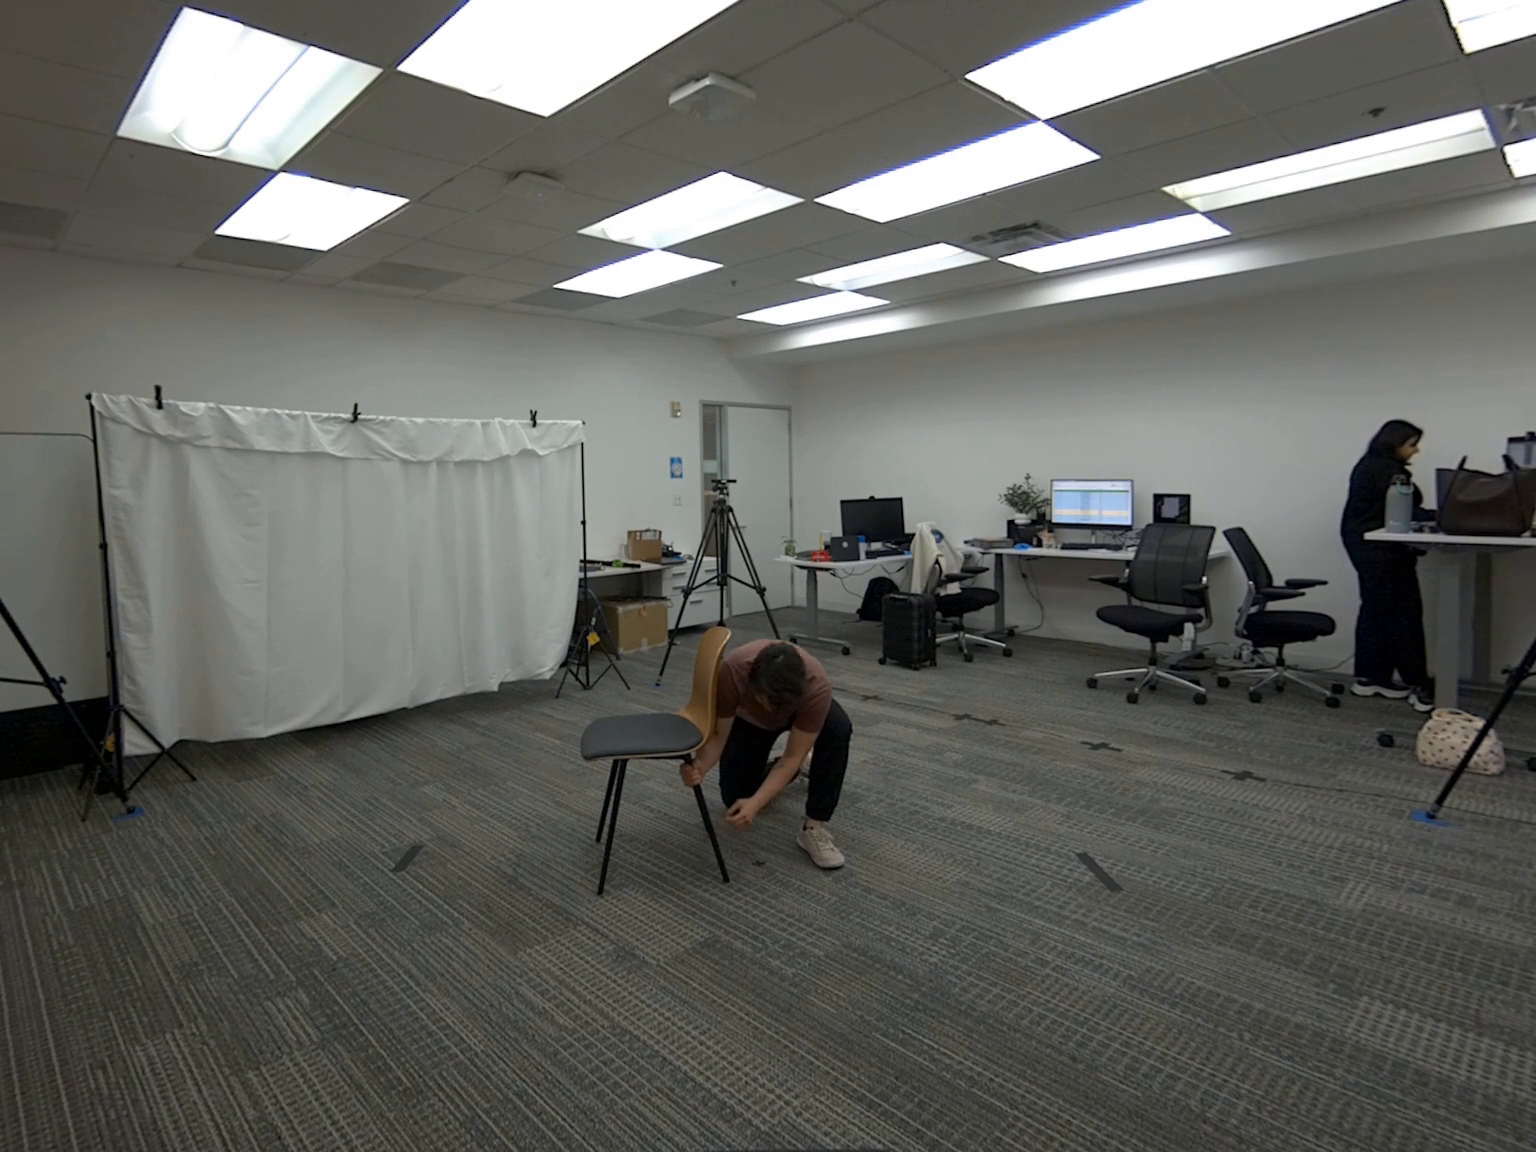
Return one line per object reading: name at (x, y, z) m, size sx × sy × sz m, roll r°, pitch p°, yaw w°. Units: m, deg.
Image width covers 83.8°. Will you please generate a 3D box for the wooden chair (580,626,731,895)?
wooden chair at (-0.419, 0.626, 3.106) m, size 0.518 × 0.874 × 0.485 m, roll 2°, pitch 5°, yaw -11°
